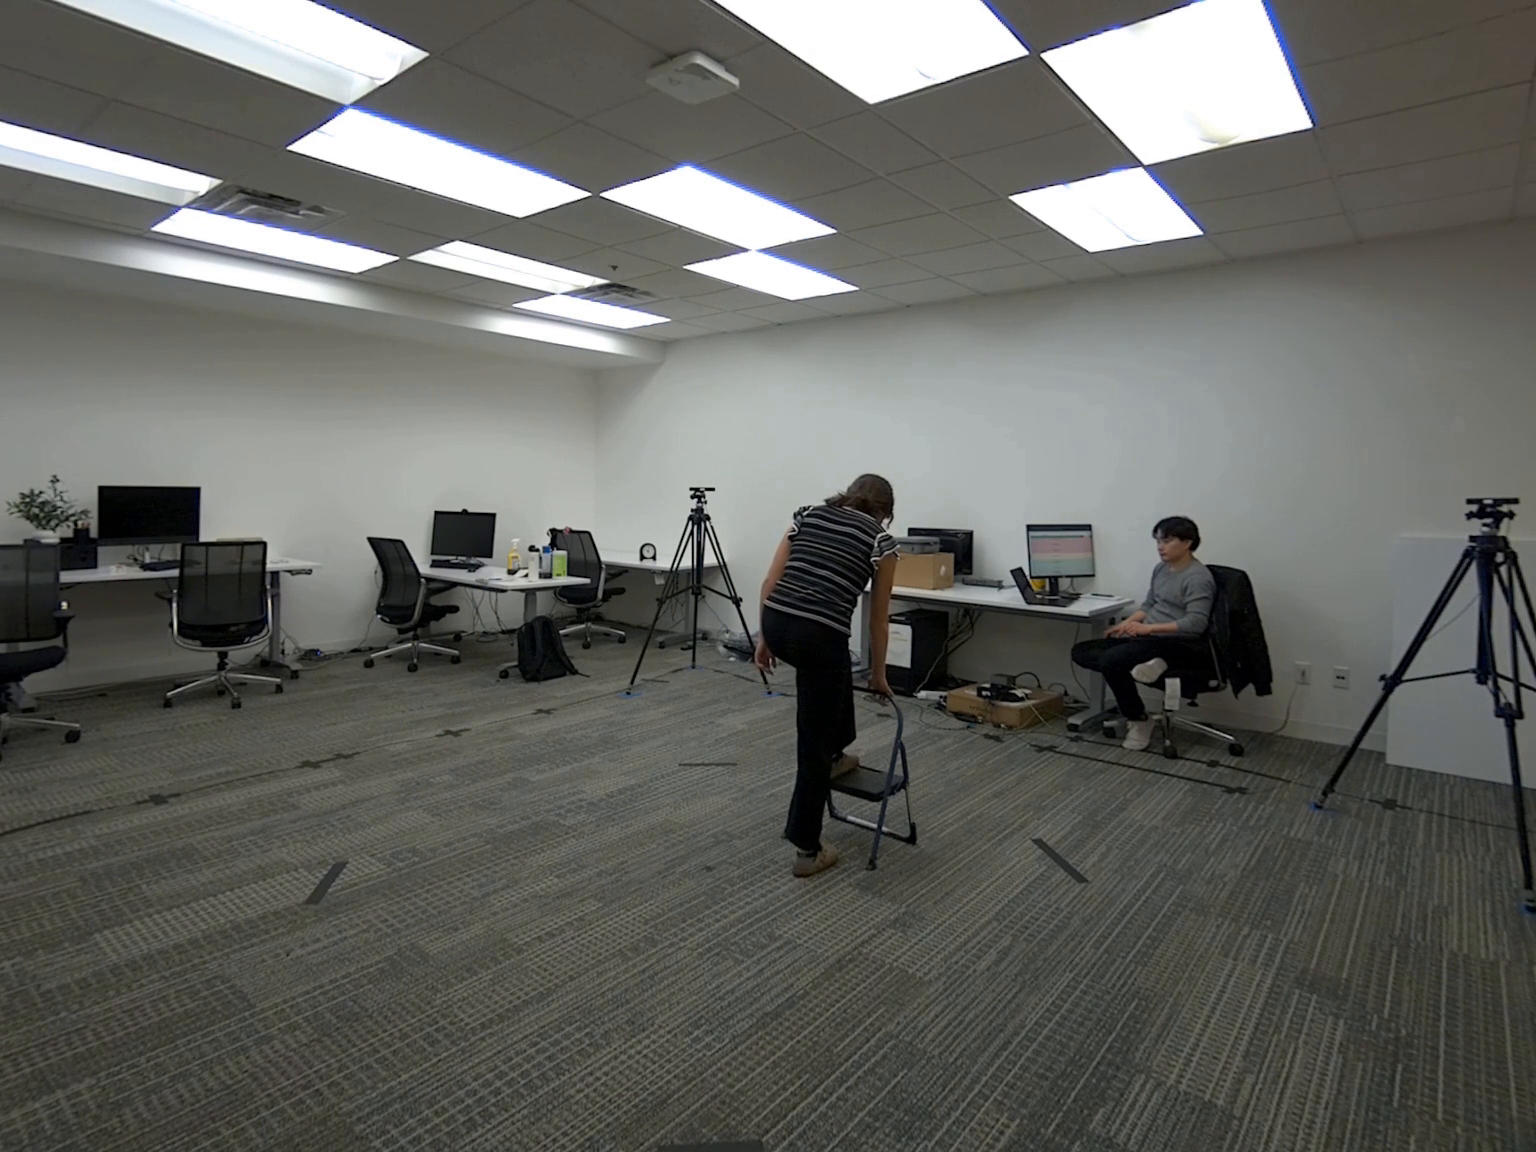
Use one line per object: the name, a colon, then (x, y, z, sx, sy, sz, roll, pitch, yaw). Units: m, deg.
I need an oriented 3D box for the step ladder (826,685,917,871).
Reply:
step ladder: (0.331, 0.749, 3.379, 0.445, 0.604, 0.339, 5, 5, 40)
